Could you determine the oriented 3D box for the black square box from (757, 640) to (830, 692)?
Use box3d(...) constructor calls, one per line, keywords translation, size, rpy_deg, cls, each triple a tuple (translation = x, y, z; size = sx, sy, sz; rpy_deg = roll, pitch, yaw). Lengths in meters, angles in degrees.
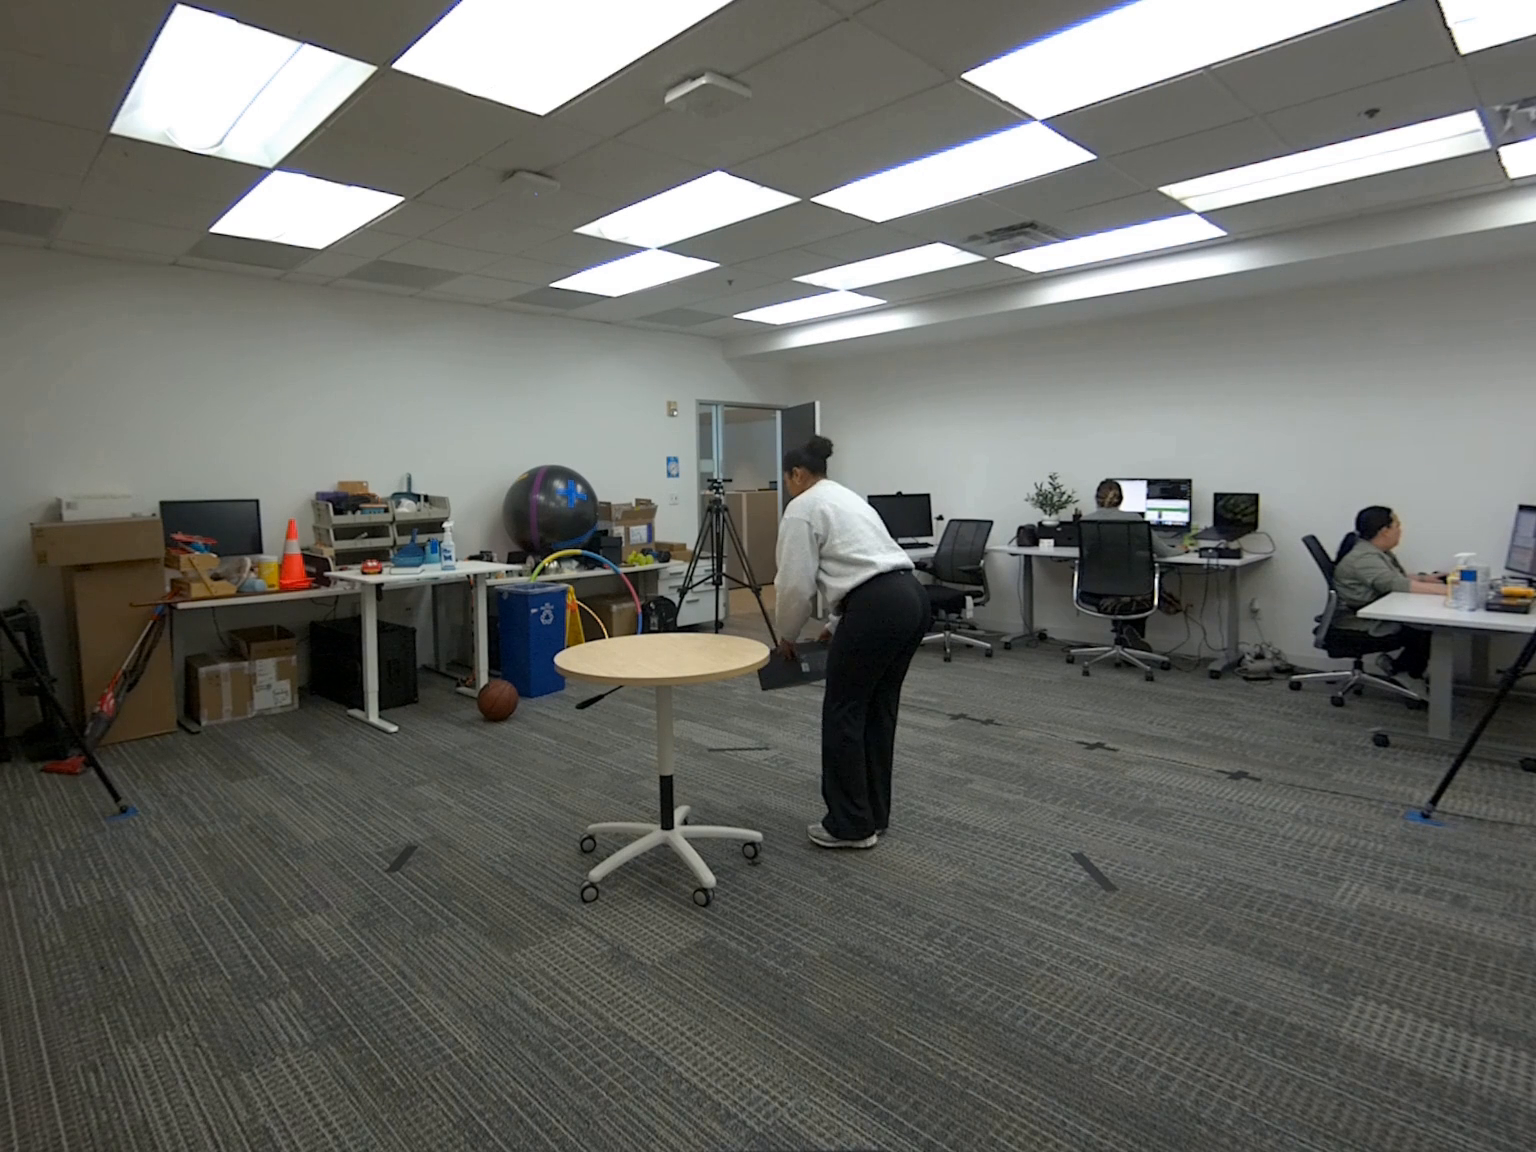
box3d(translation=(0.111, 0.383, 3.596), size=(0.210, 0.158, 0.231), rpy_deg=(2, -18, -46), cls="black square box")
